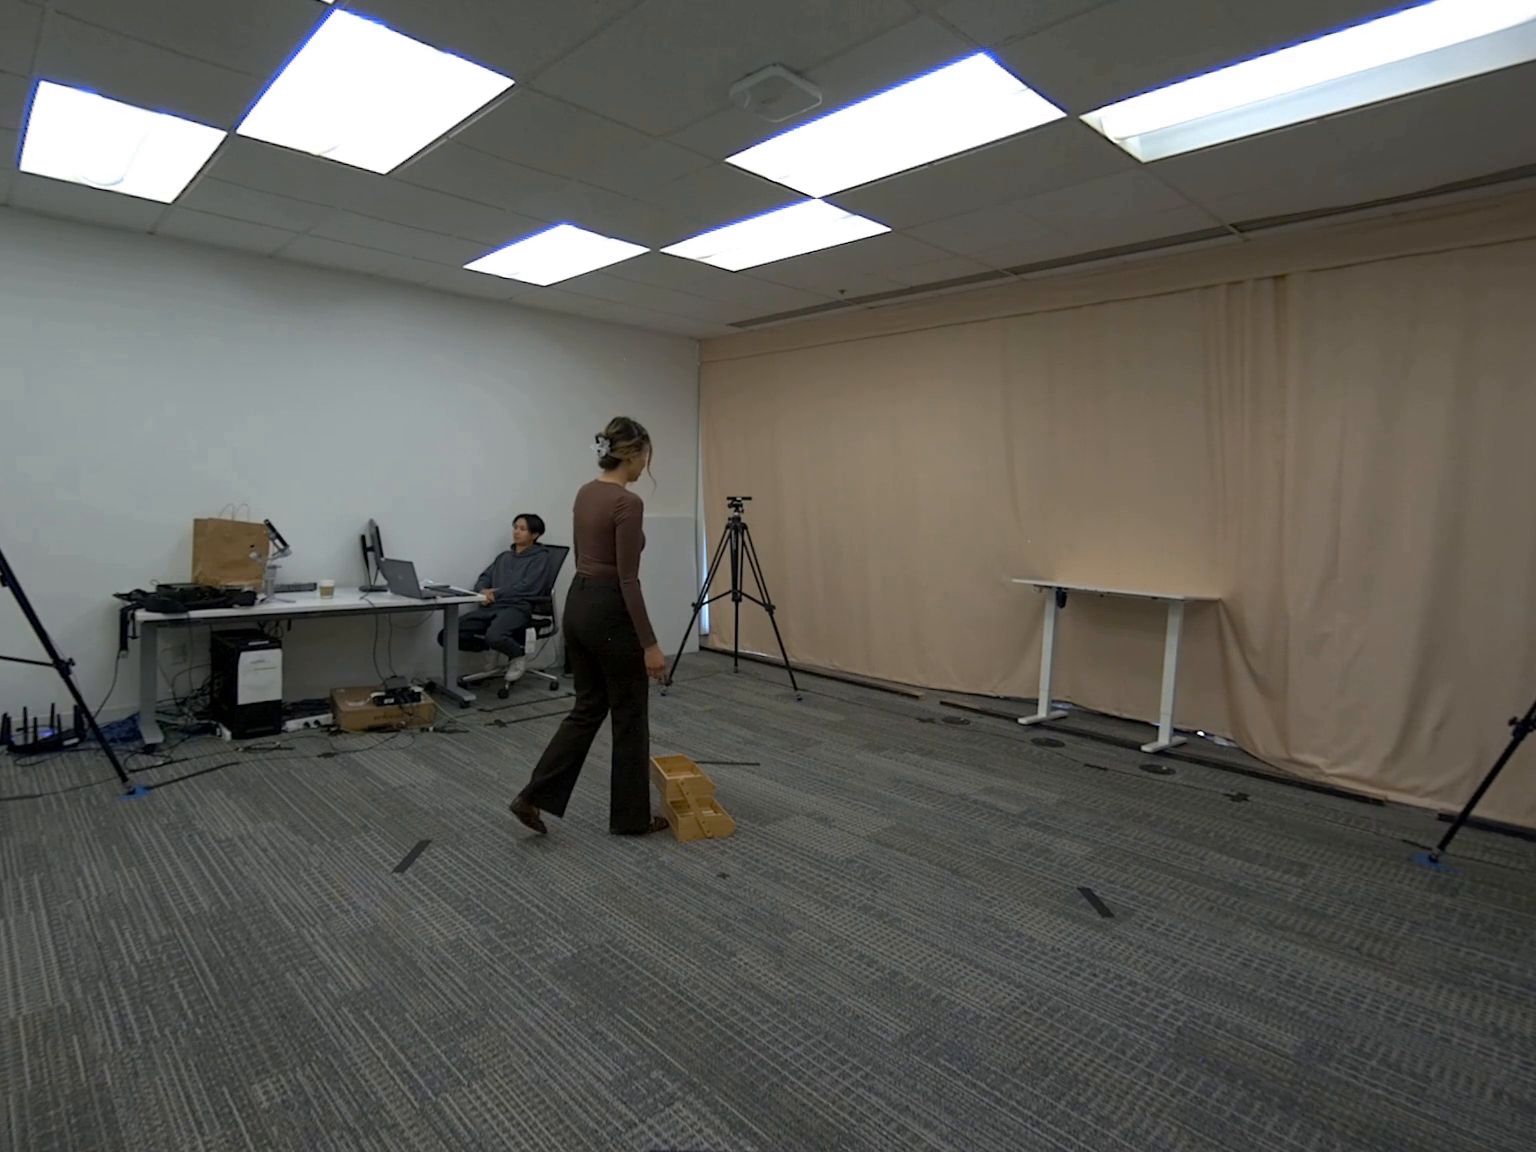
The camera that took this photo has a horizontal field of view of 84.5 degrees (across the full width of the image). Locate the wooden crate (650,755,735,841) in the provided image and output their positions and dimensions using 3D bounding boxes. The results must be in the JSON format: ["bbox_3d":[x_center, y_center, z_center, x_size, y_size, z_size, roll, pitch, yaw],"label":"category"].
[{"bbox_3d":[-0.329,0.927,3.581,0.297,0.272,0.330,0,5,-20],"label":"wooden crate"}]
